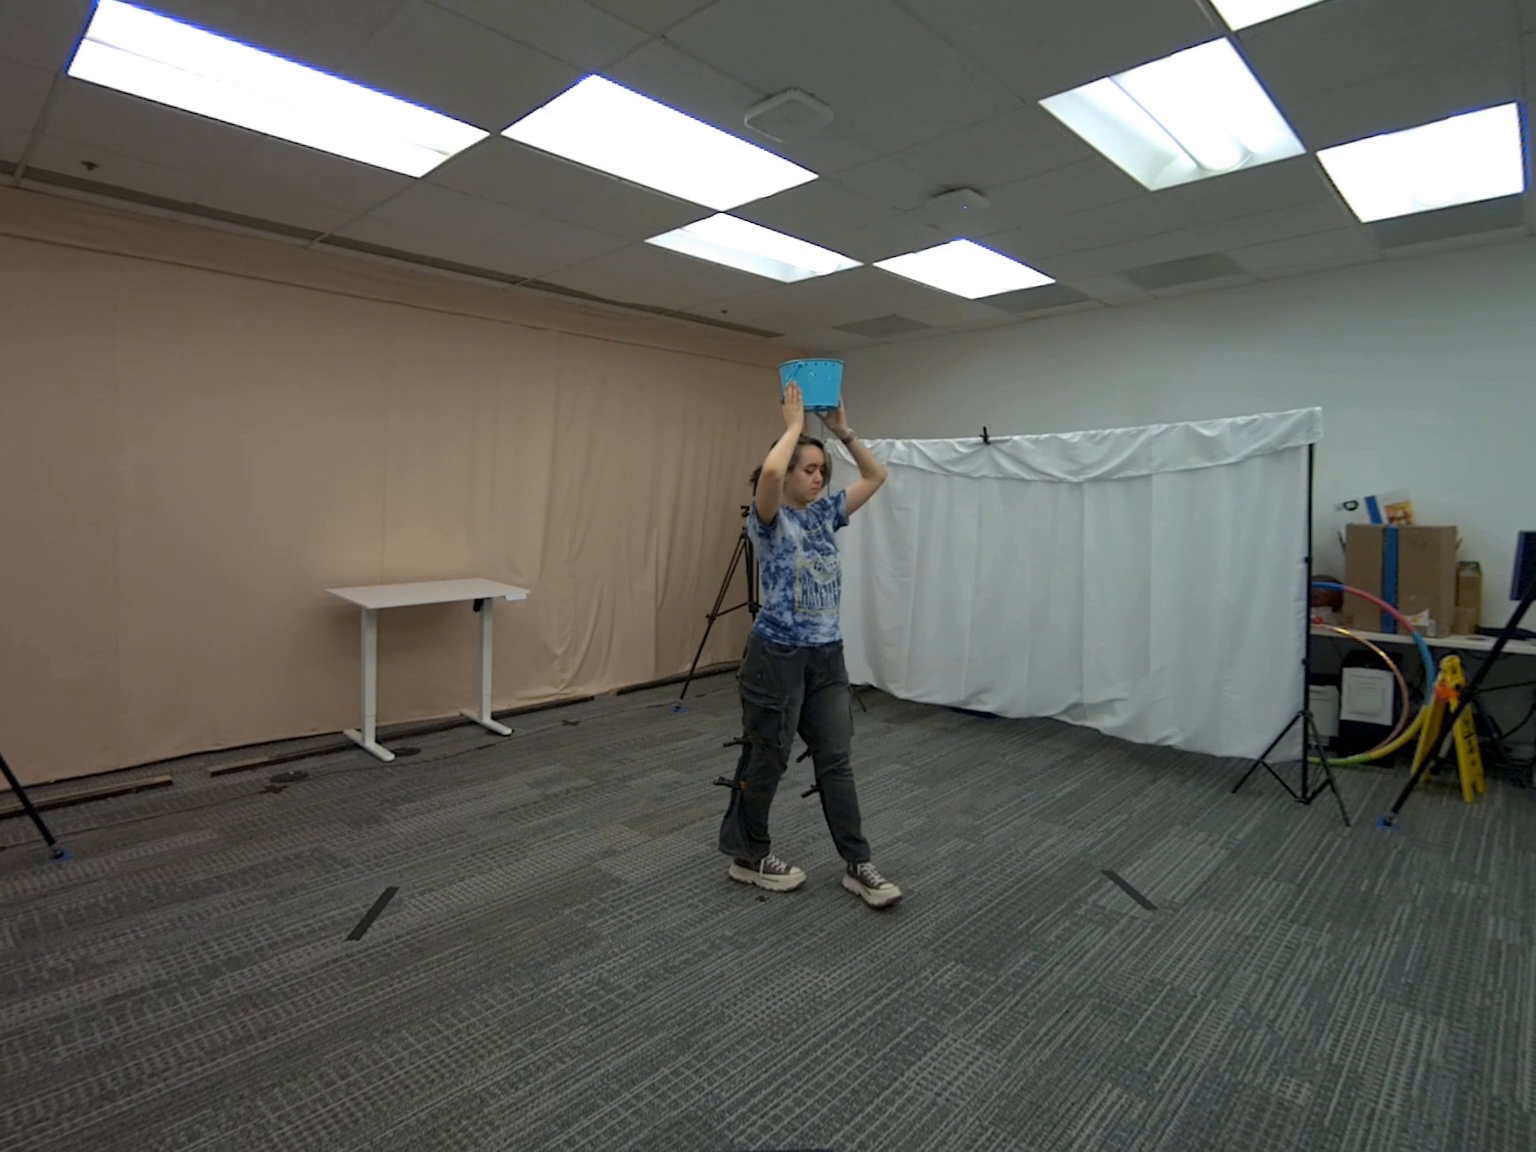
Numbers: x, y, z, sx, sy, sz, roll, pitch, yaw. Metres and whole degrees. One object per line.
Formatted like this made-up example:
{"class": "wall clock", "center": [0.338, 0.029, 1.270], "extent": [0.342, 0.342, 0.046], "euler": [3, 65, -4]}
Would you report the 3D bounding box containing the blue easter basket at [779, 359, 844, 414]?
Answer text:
{"class": "blue easter basket", "center": [0.155, -0.666, 2.963], "extent": [0.243, 0.155, 0.244], "euler": [-1, 3, -2]}
